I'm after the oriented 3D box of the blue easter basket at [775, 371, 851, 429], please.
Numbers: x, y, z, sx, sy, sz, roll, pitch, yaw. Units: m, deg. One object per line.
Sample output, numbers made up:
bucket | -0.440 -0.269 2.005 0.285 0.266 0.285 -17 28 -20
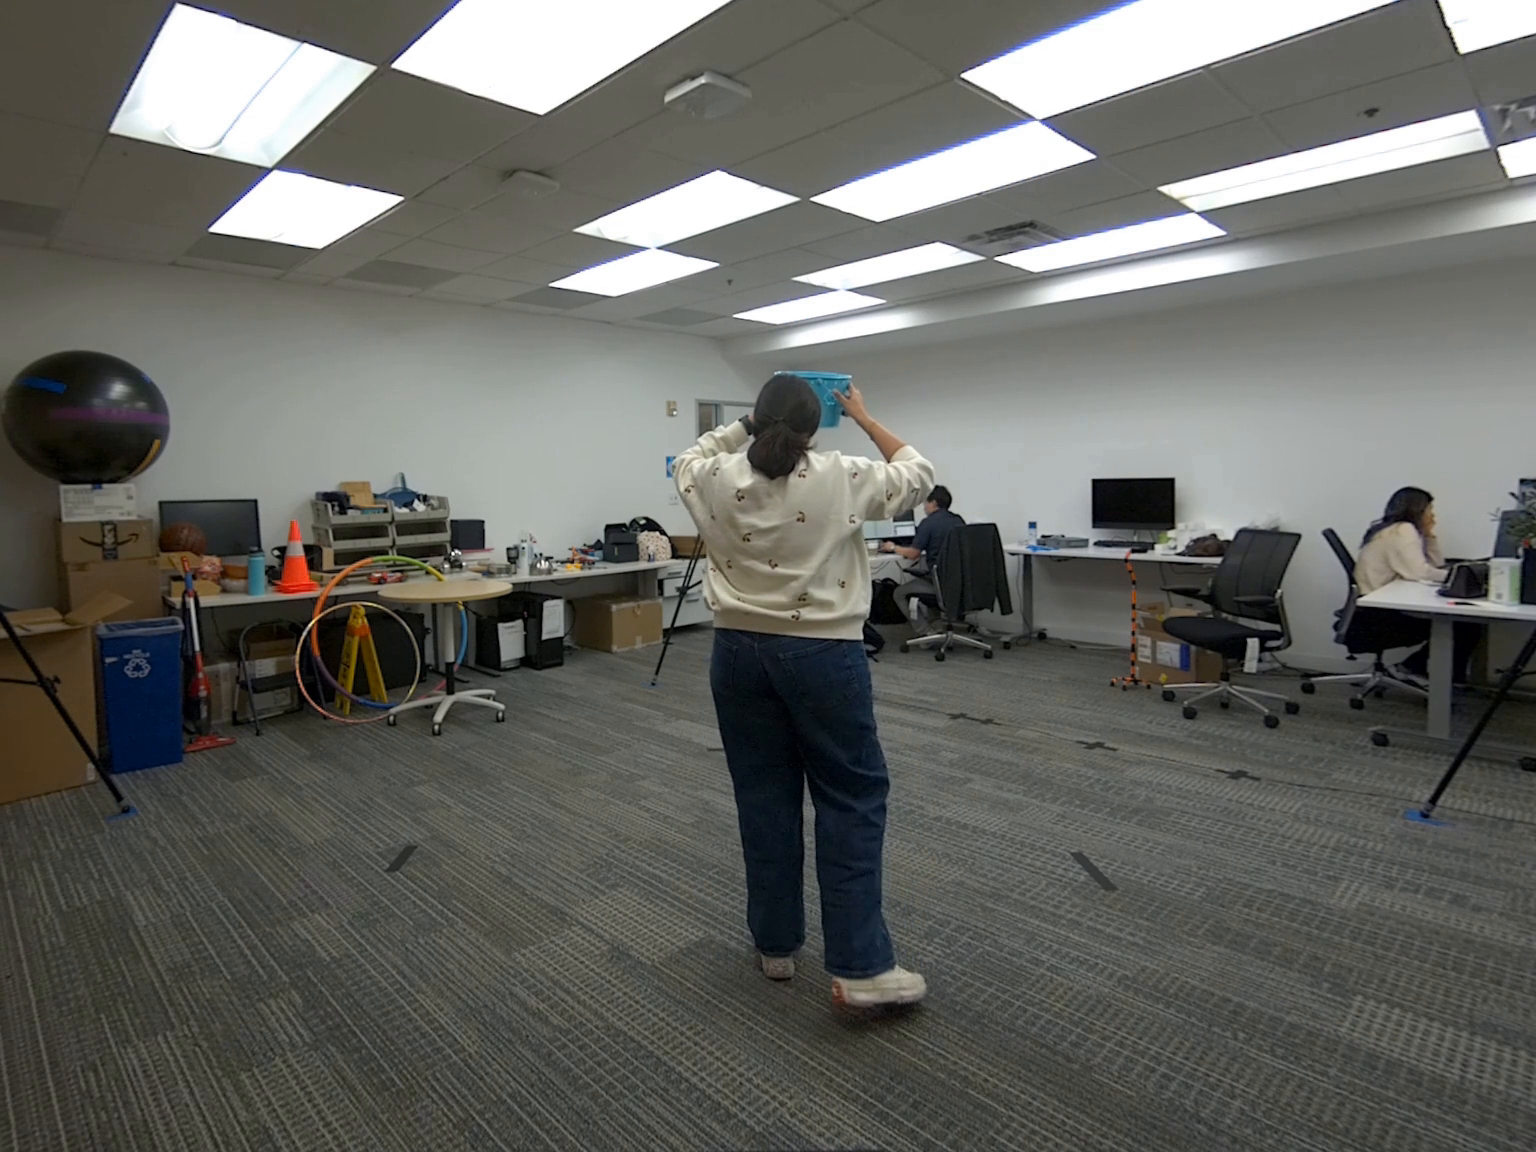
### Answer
blue easter basket | 0.147 -0.545 2.611 0.243 0.154 0.247 1 16 -2
